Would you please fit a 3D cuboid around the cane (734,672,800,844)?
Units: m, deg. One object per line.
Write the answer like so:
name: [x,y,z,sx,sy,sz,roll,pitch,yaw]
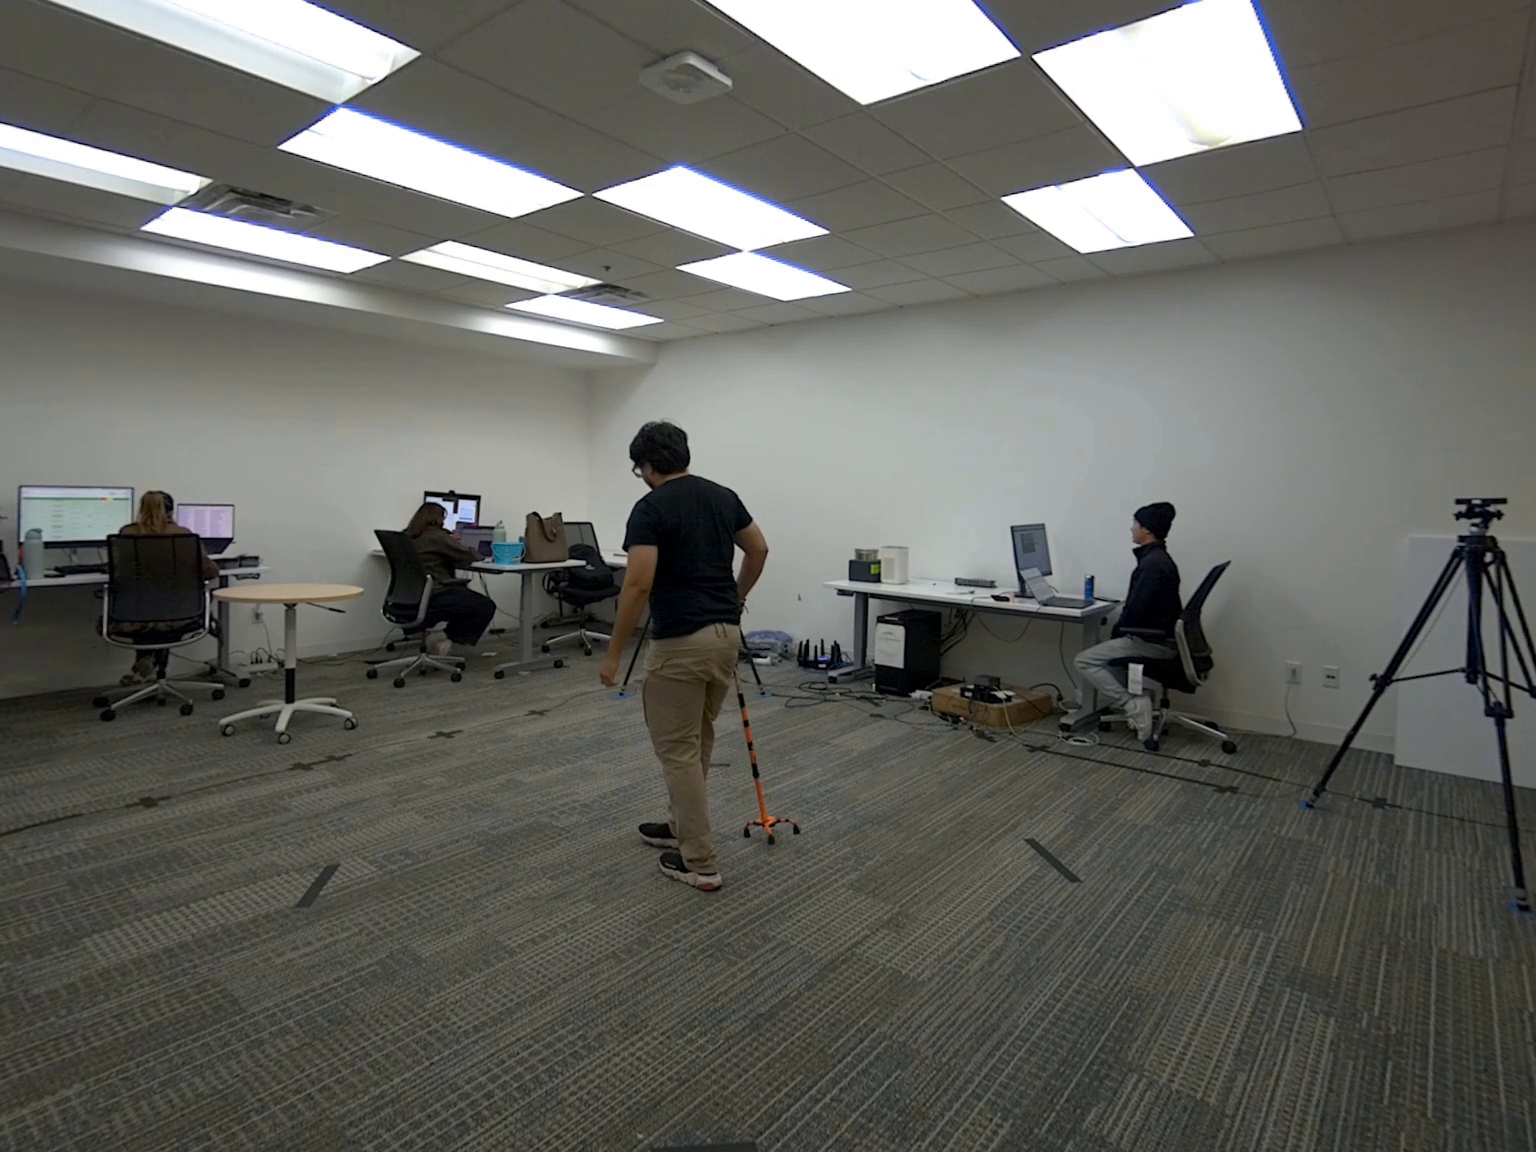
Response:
cane: [-0.079,0.584,3.396,0.148,0.911,0.210,-10,-4,-33]
